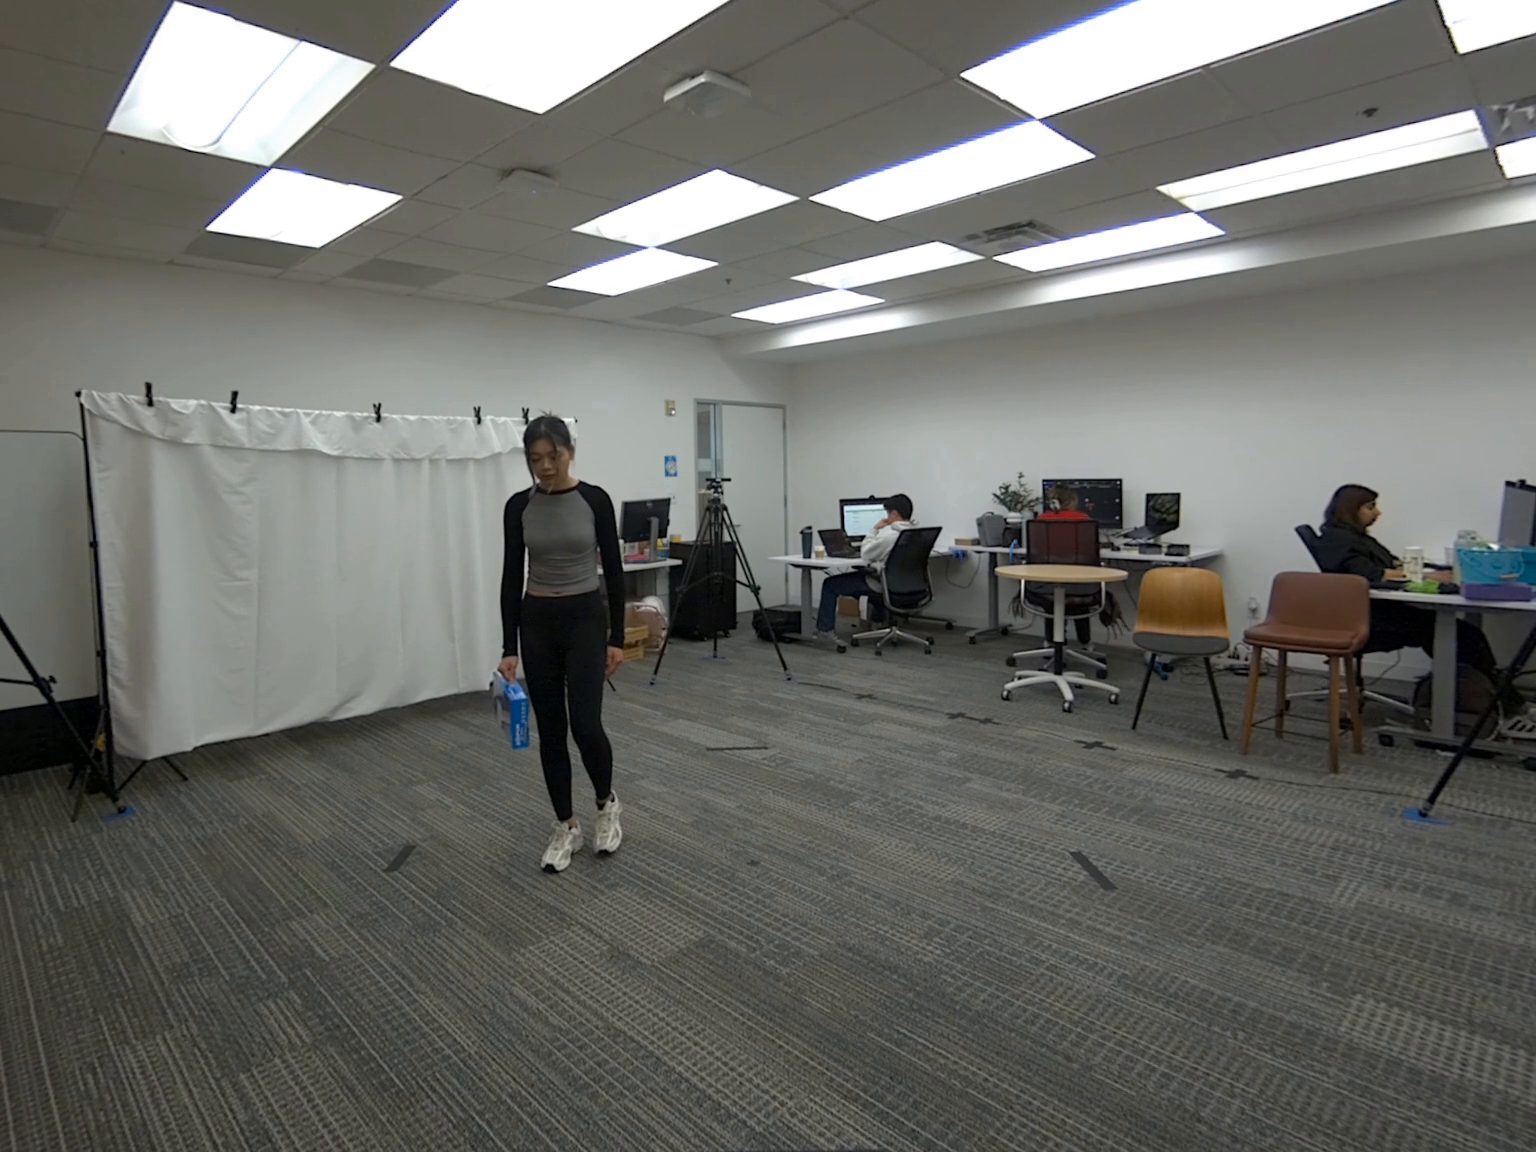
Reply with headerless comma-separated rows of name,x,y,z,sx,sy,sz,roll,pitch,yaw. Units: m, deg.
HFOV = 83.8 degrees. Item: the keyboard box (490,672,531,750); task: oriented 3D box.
keyboard box,-0.932,0.476,3.105,0.058,0.175,0.448,-3,8,-24
